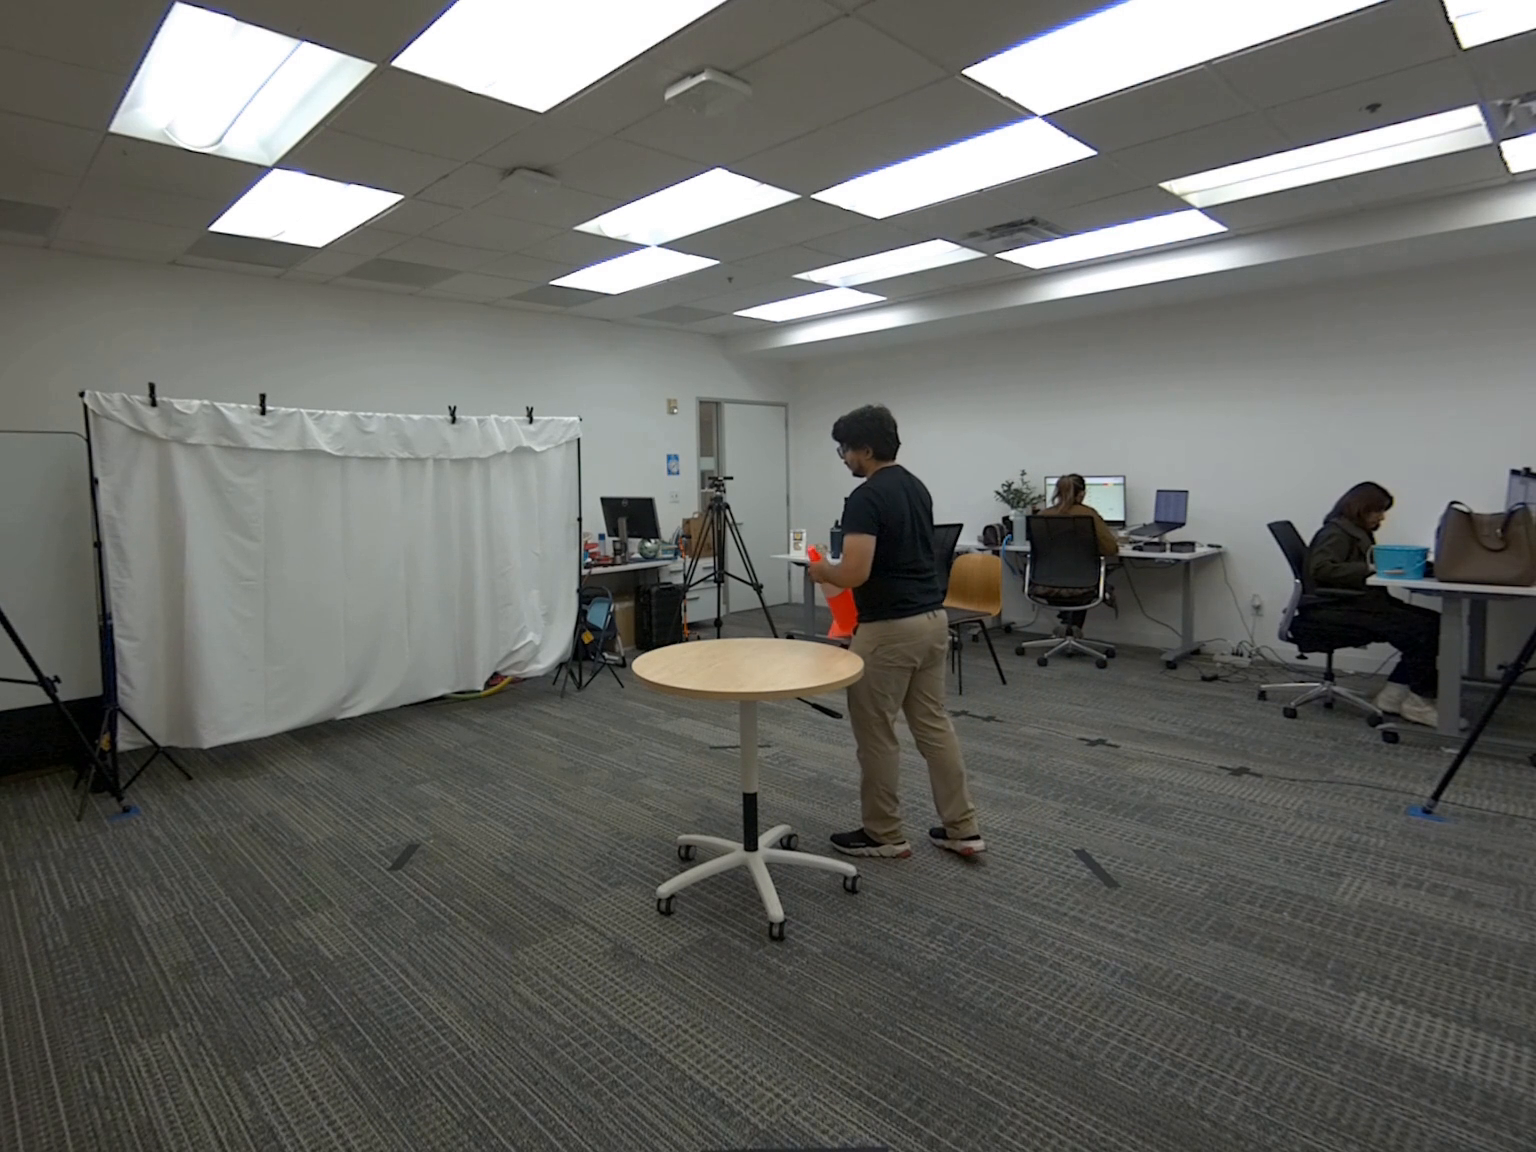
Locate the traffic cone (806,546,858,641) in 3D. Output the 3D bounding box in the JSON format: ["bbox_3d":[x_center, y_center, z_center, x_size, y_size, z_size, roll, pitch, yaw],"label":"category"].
[{"bbox_3d":[0.257,0.032,3.327,0.209,0.373,0.205,-13,33,39],"label":"traffic cone"}]
